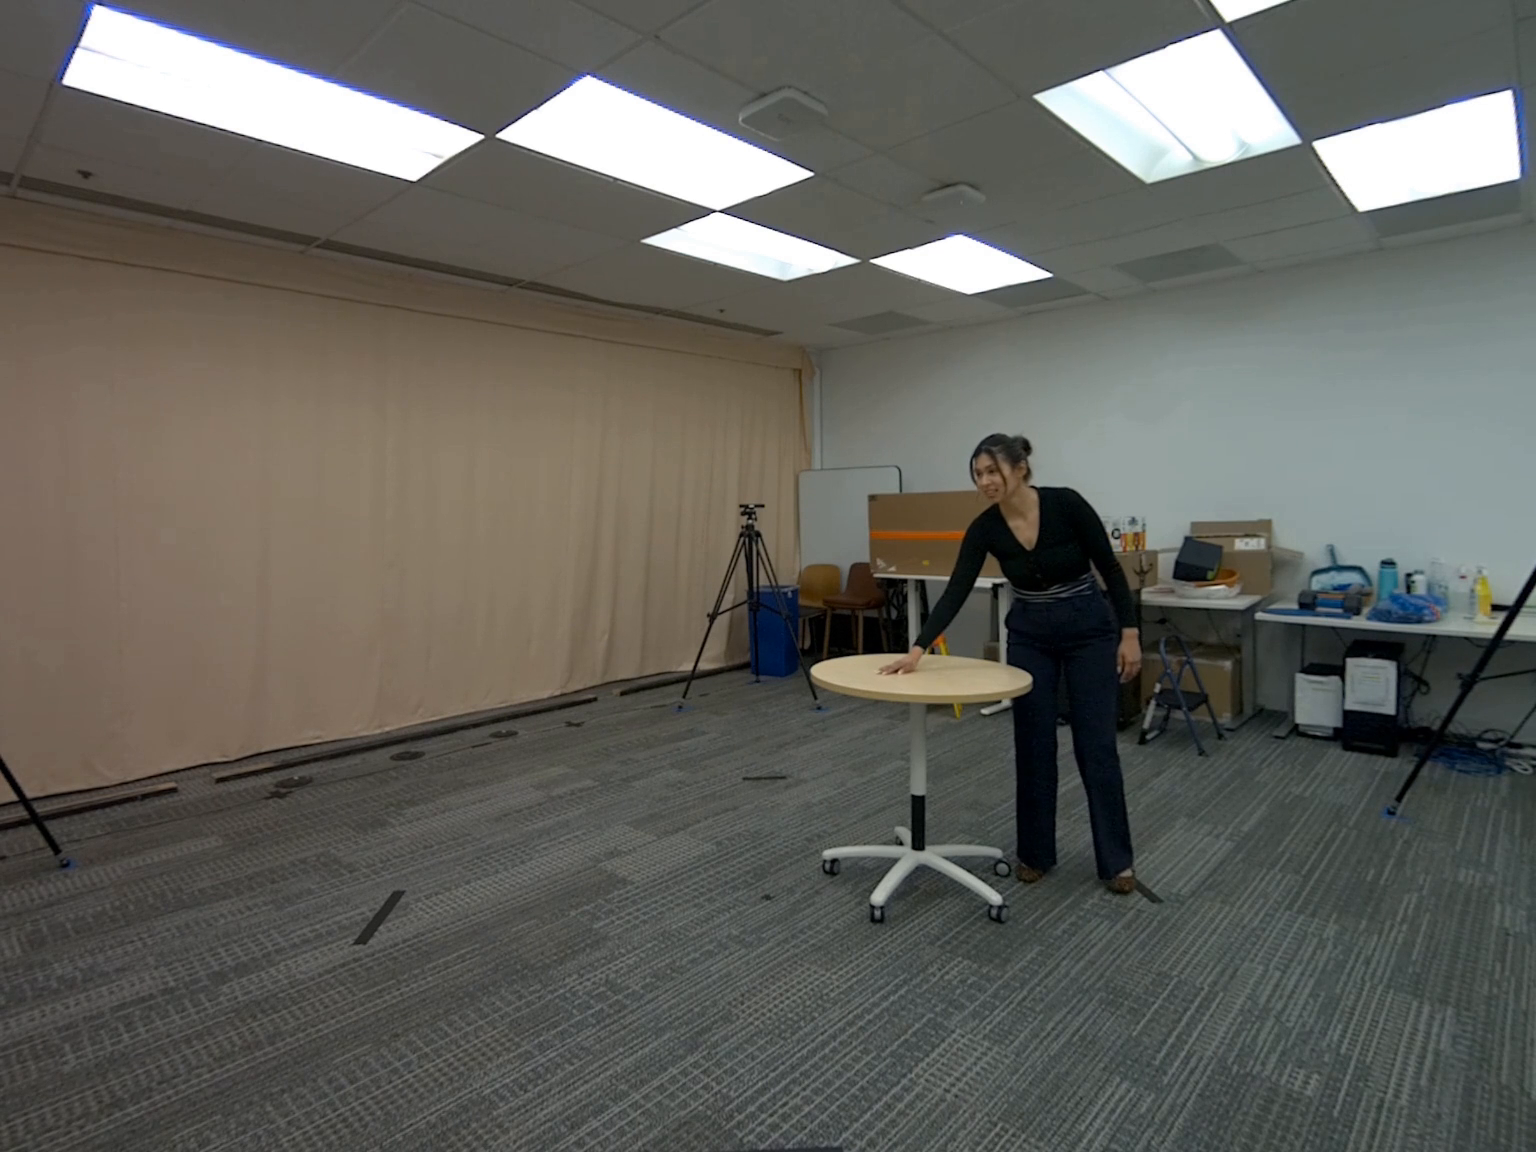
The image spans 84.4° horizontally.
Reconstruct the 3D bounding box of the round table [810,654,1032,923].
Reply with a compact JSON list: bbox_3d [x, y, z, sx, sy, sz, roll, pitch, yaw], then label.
[{"bbox_3d":[0.545,0.738,3.026,0.763,0.792,0.766,-1,4,-2],"label":"round table"}]
